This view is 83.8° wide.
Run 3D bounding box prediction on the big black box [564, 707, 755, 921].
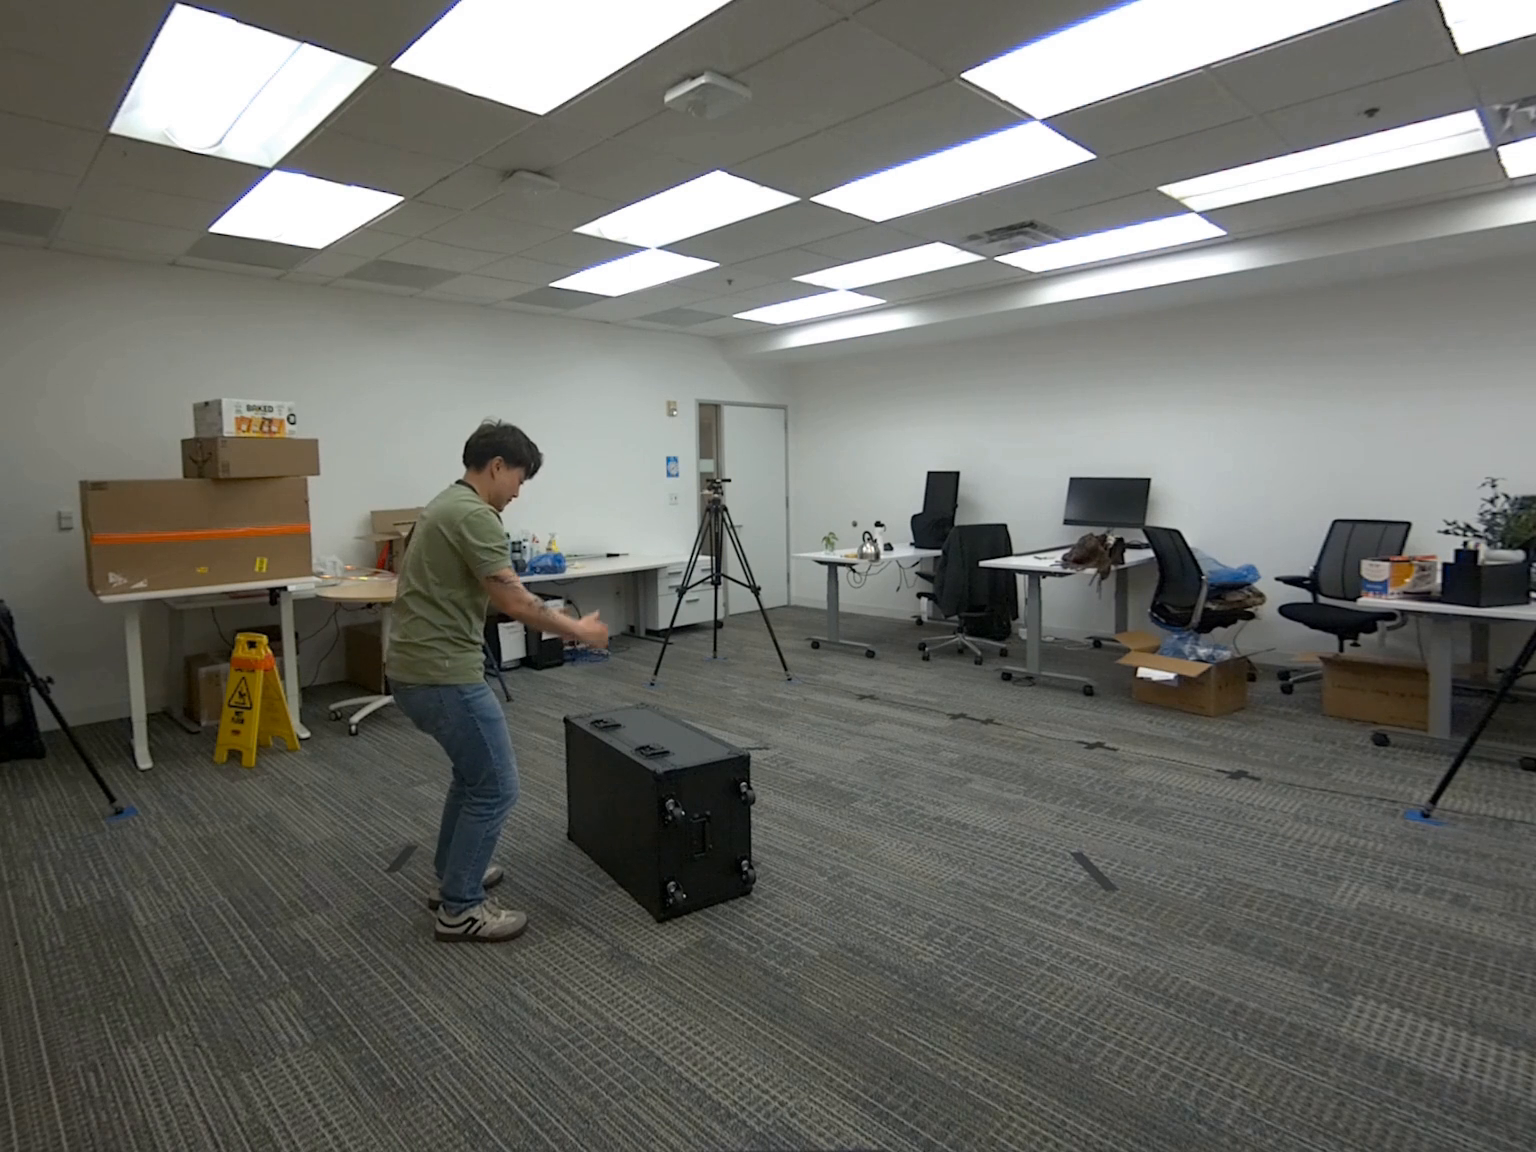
[{"bbox_3d":[-0.392,0.812,3.079,0.387,0.519,0.887,-4,7,-33],"label":"big black box"}]
